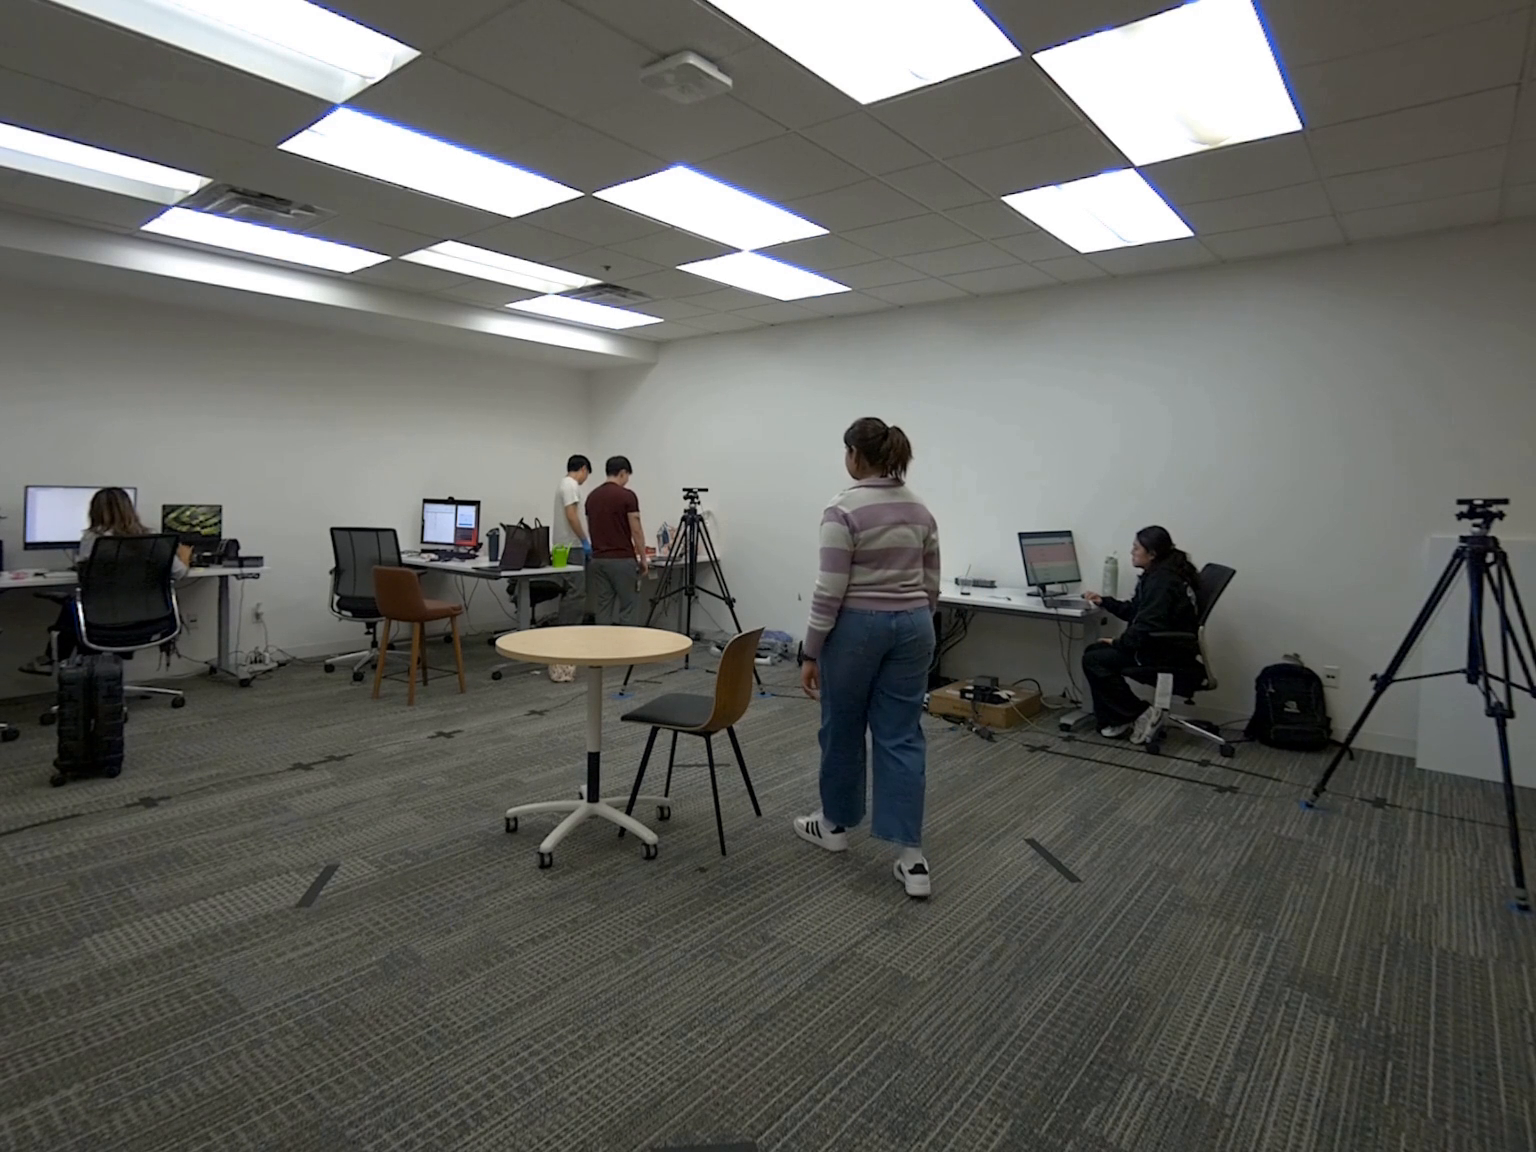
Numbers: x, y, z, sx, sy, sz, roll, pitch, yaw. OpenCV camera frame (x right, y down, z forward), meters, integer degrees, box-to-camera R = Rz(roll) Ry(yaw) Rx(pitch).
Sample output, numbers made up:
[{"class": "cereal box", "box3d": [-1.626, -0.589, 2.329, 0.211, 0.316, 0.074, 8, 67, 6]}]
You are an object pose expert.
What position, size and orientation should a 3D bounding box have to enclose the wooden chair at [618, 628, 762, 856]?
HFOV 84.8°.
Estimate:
[{"class": "wooden chair", "box3d": [-0.321, 0.608, 3.482, 0.535, 0.874, 0.469, 6, 5, 19]}]
